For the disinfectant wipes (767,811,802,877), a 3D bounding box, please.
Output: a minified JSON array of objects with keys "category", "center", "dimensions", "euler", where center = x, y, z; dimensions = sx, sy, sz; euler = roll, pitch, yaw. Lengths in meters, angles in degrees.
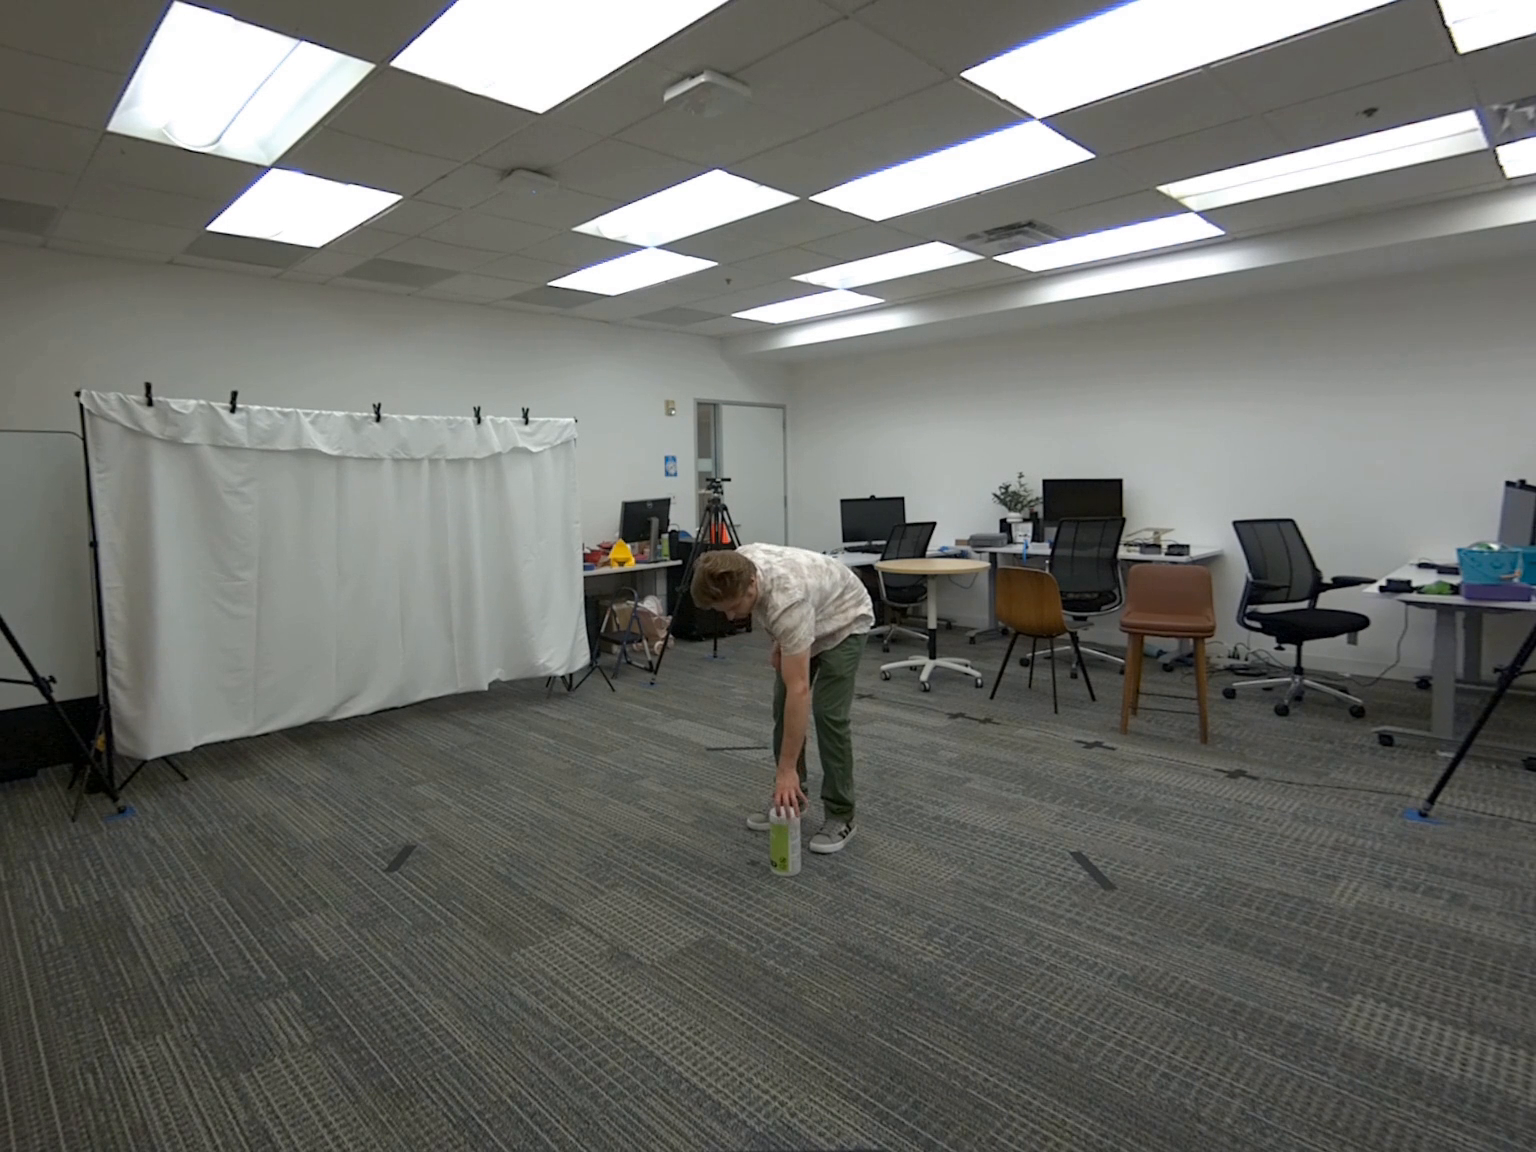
[{"category":"disinfectant wipes","center":[0.060,0.947,3.038],"dimensions":[0.118,0.216,0.118],"euler":[-2,7,-1]}]
